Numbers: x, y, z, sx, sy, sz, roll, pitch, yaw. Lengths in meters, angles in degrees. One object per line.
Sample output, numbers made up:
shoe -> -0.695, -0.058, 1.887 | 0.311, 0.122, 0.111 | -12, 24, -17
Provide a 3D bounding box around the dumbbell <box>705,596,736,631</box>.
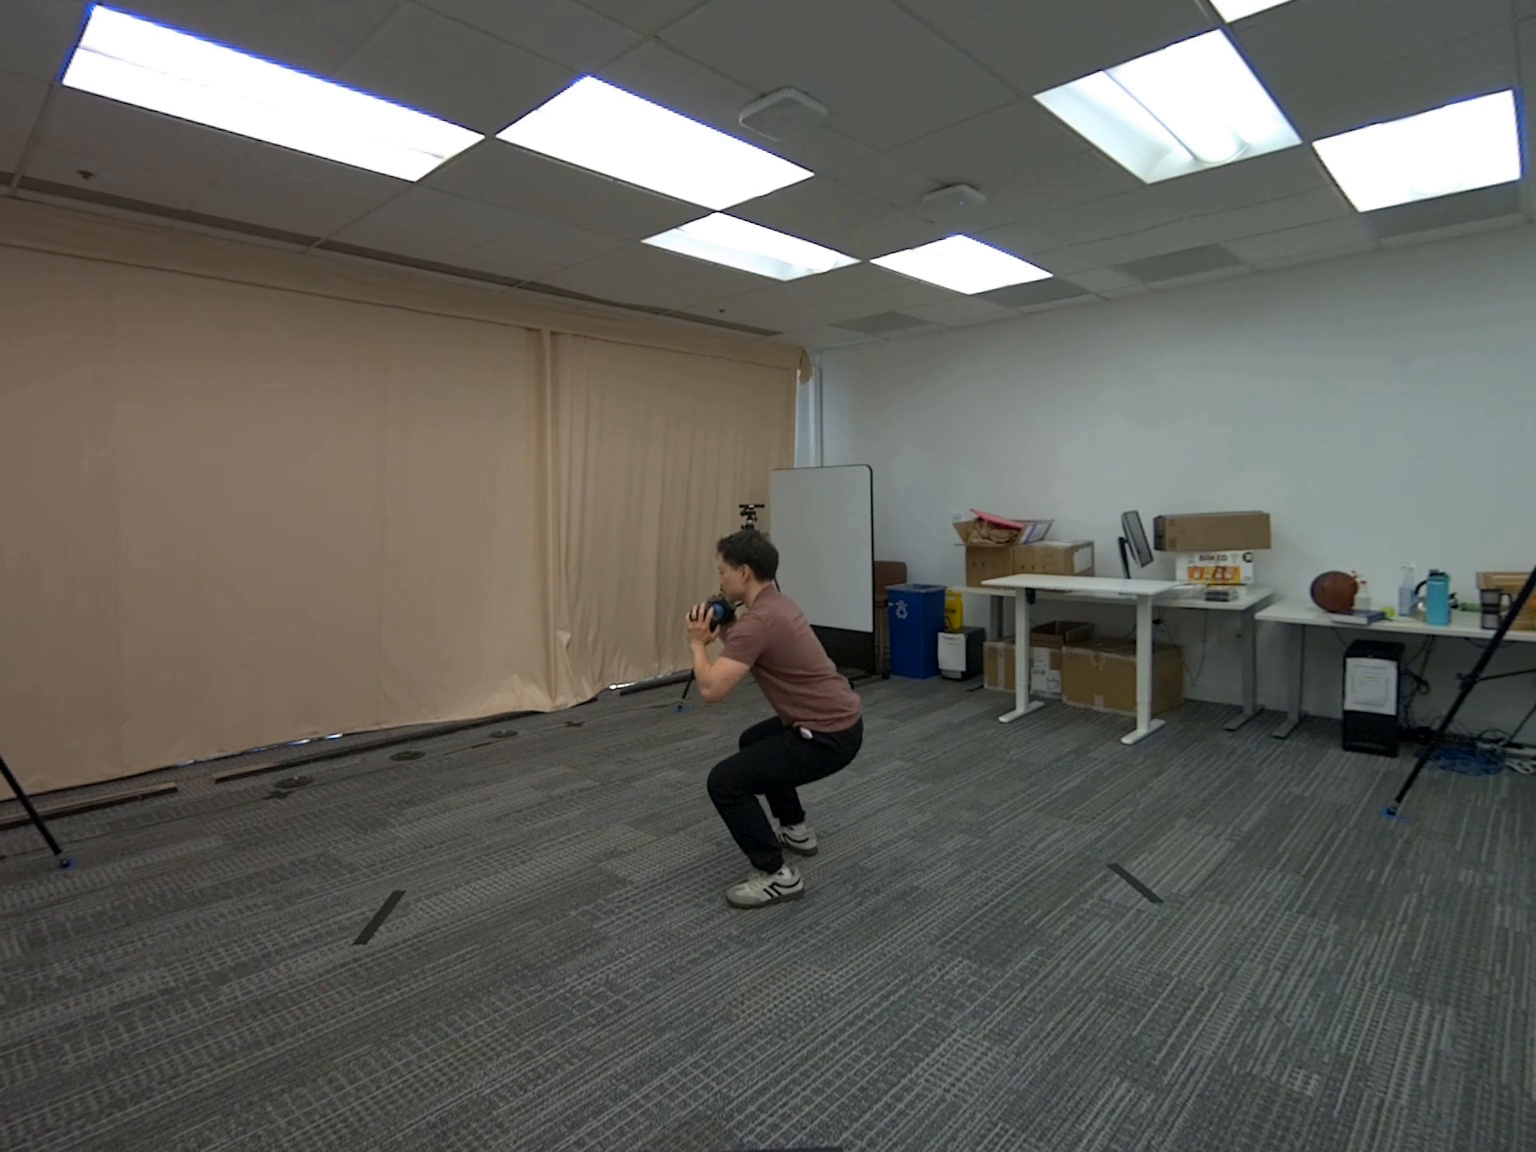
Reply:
dumbbell -> -0.200, 0.146, 3.205 | 0.109, 0.123, 0.291 | -35, 1, 17
